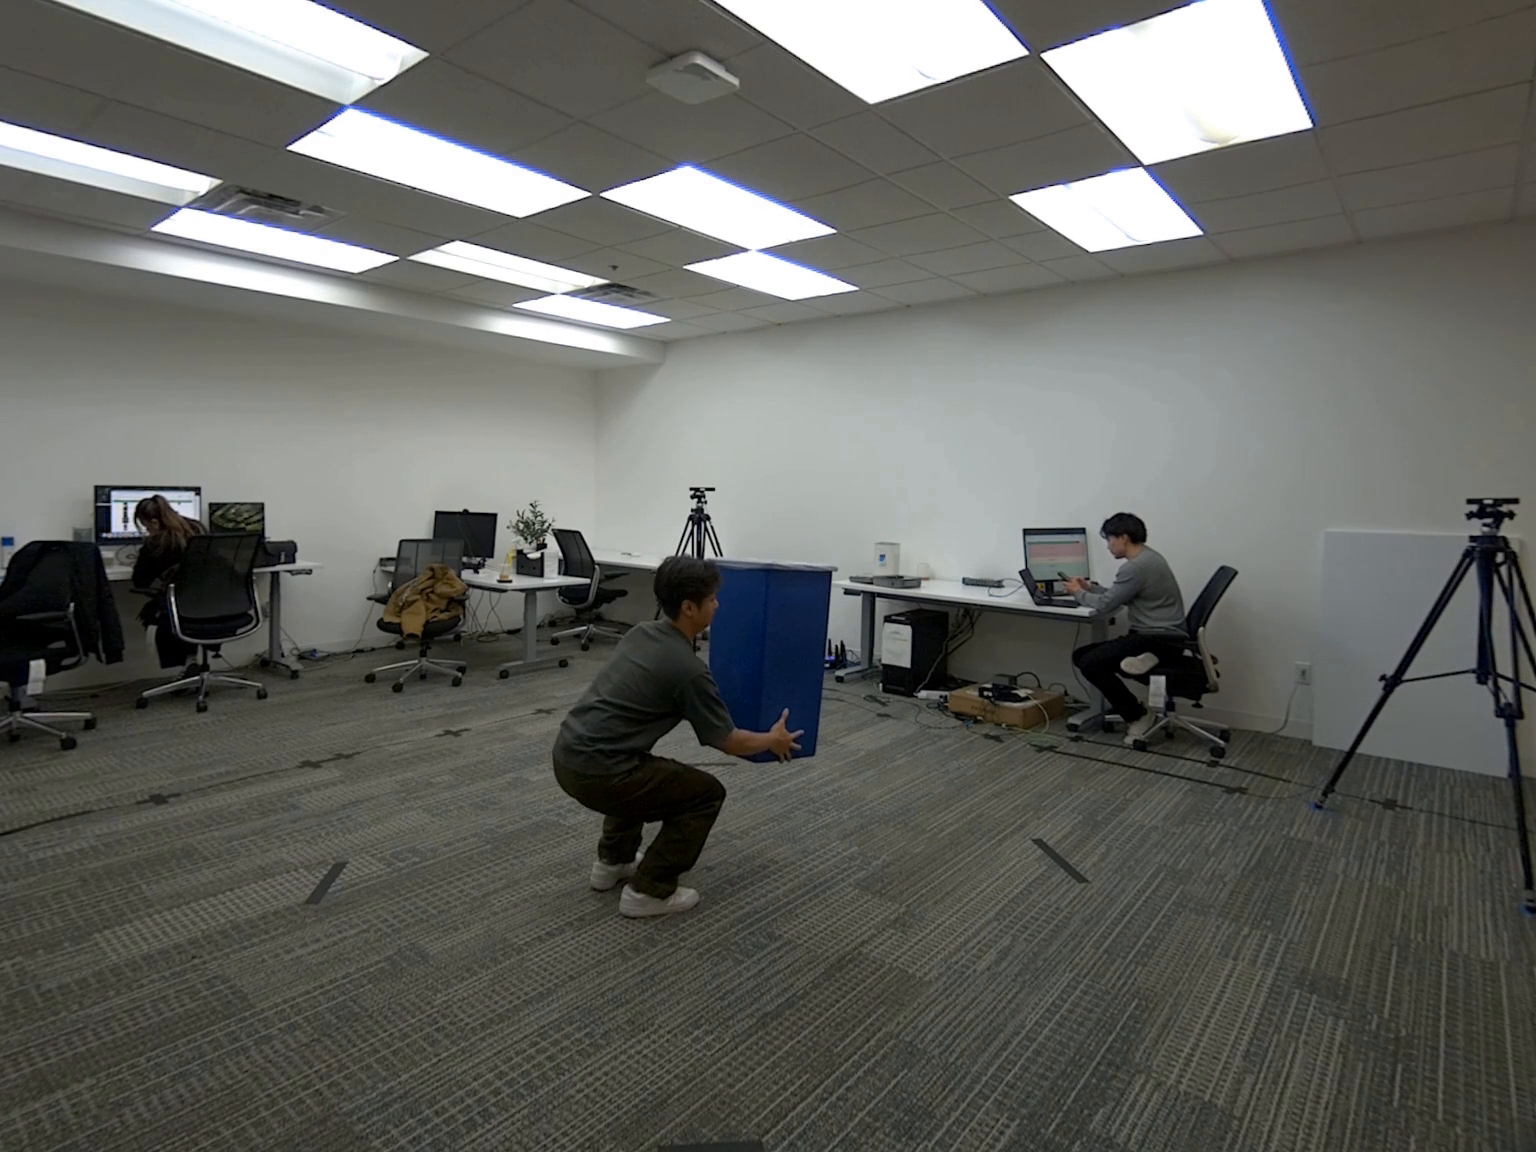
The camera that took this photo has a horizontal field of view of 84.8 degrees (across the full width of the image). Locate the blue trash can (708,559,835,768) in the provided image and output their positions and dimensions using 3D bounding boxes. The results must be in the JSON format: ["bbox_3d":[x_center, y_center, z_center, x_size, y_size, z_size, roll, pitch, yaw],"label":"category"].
[{"bbox_3d":[-0.023,0.291,3.205,0.366,0.714,0.386,3,0,-40],"label":"blue trash can"}]
